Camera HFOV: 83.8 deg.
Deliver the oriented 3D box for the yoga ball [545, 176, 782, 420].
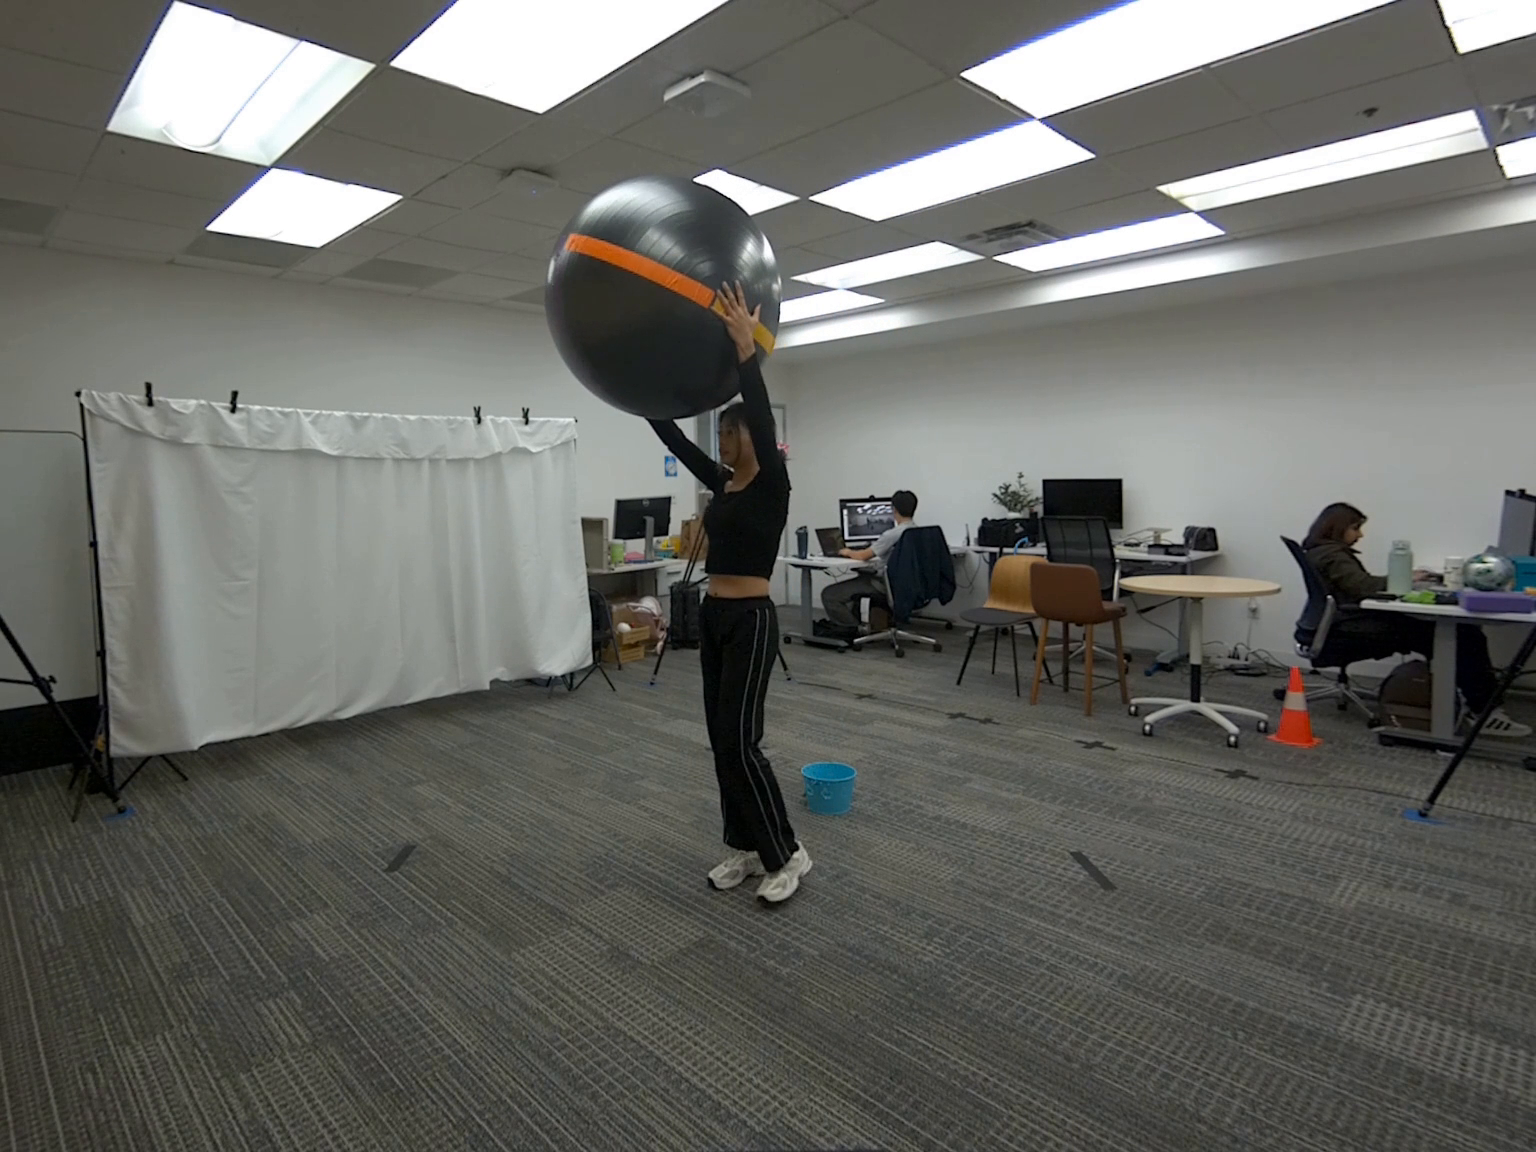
[{"bbox_3d":[-0.334,-0.883,2.756,0.757,0.755,0.762,-1,5,-2],"label":"yoga ball"}]
